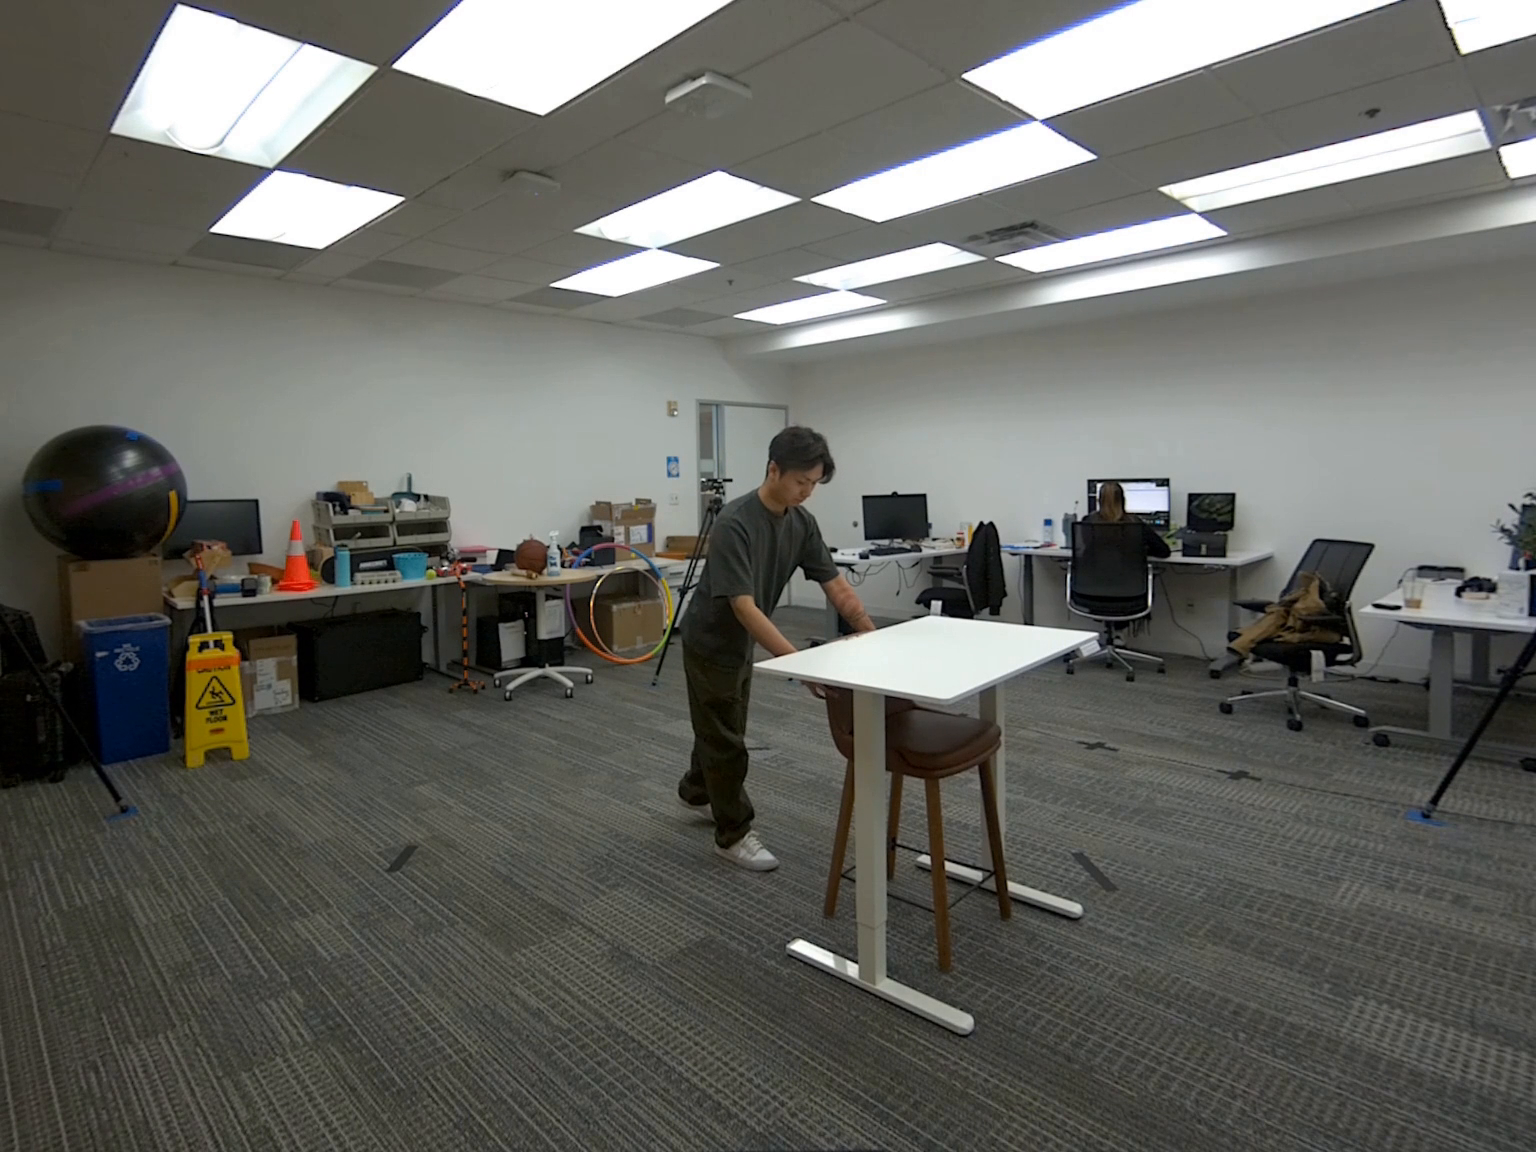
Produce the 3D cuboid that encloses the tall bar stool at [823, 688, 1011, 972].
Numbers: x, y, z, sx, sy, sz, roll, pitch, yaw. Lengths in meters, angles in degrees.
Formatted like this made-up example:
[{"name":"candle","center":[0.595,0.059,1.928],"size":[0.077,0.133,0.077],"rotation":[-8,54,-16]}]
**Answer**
[{"name":"tall bar stool","center":[0.454,0.650,2.681],"size":[0.481,0.888,0.444],"rotation":[-1,2,42]}]
